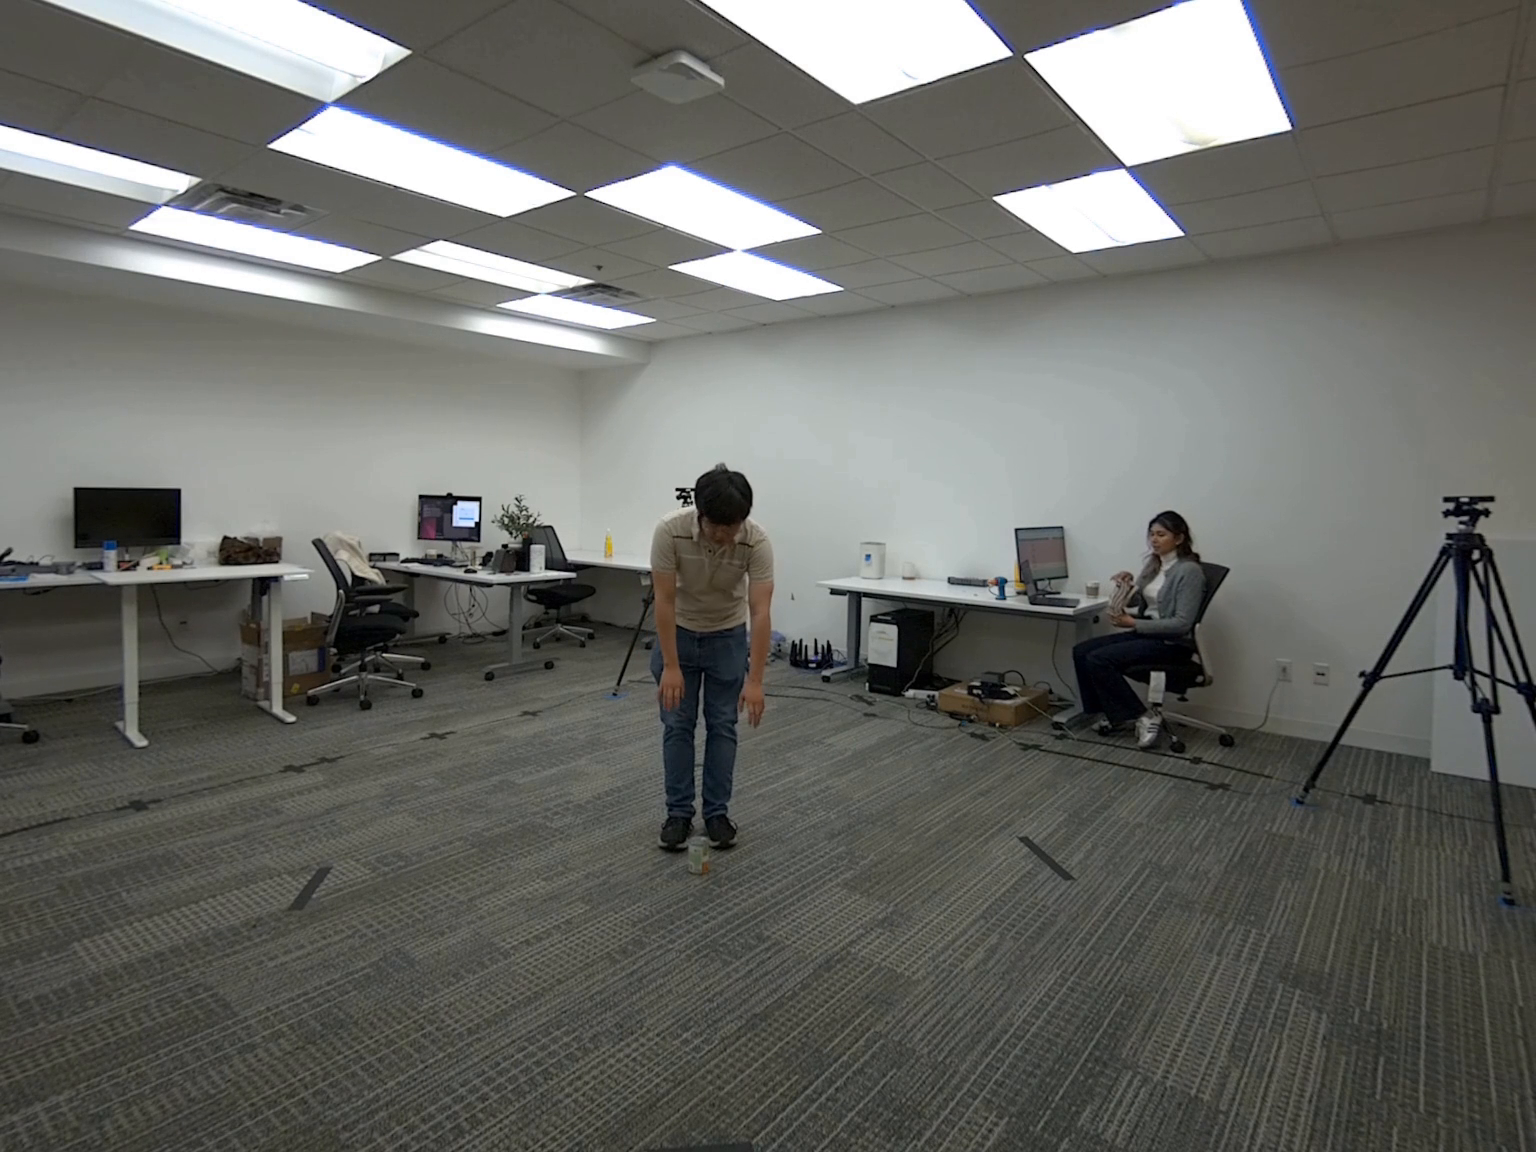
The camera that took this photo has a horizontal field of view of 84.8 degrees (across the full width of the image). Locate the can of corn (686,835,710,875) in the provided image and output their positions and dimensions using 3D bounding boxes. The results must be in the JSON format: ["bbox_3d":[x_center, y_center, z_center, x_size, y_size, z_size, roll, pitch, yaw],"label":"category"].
[{"bbox_3d":[-0.269,1.019,3.091,0.074,0.111,0.074,-1,4,-2],"label":"can of corn"}]
